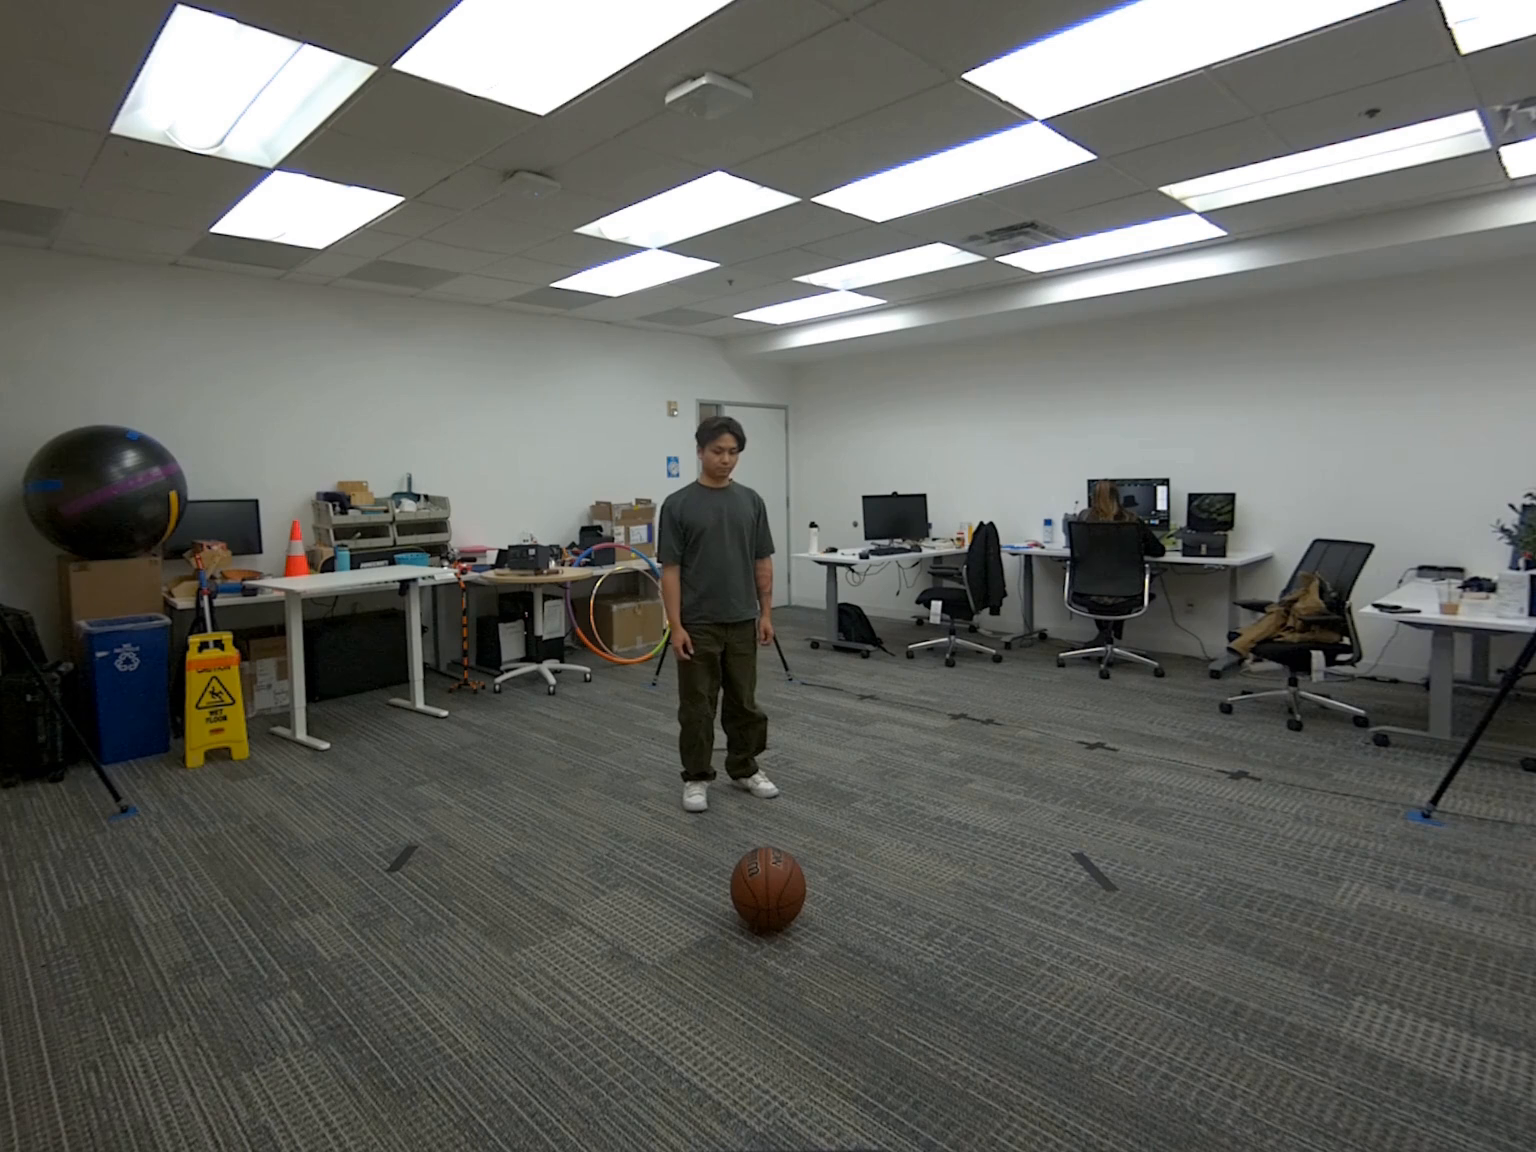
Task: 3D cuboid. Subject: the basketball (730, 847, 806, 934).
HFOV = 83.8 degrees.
[{"bbox_3d":[0.010,0.977,2.671,0.236,0.235,0.237,-1,5,-2],"label":"basketball"}]
